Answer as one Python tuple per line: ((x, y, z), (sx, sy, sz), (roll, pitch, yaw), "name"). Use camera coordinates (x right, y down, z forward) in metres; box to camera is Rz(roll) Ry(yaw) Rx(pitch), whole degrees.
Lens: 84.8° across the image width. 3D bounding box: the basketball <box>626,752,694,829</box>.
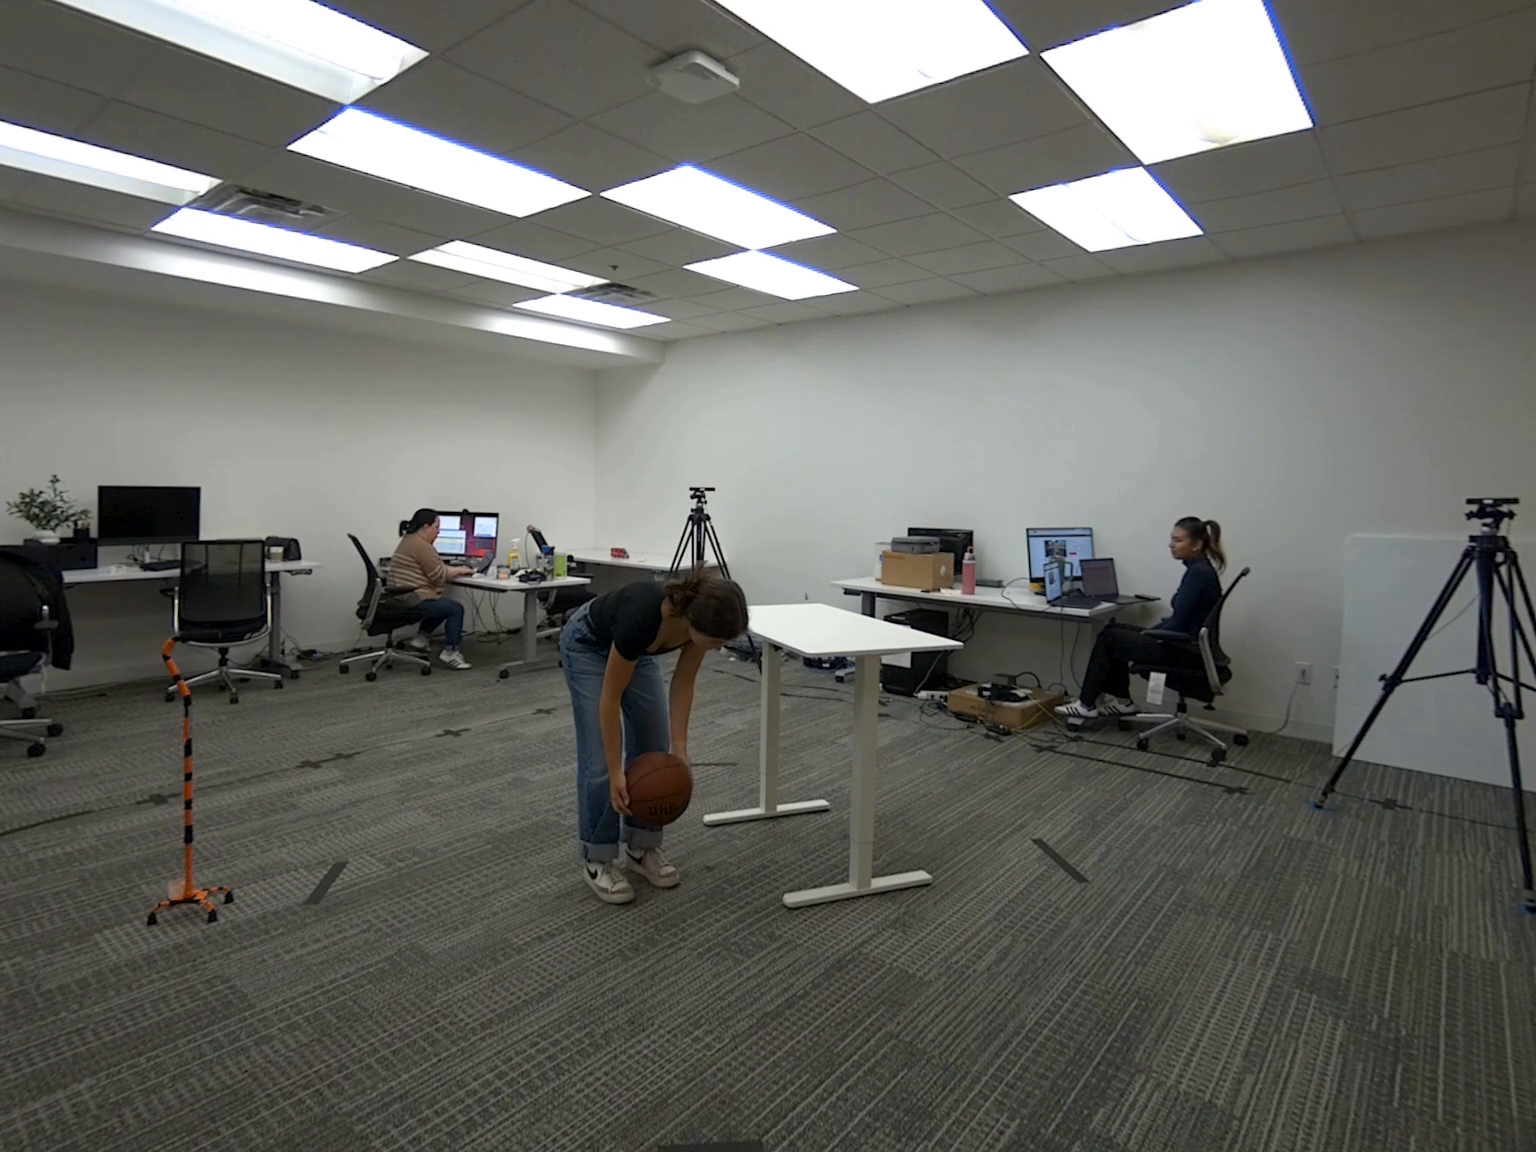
((-0.379, 0.708, 2.832), (0.235, 0.235, 0.237), (1, 4, -2), "basketball")
